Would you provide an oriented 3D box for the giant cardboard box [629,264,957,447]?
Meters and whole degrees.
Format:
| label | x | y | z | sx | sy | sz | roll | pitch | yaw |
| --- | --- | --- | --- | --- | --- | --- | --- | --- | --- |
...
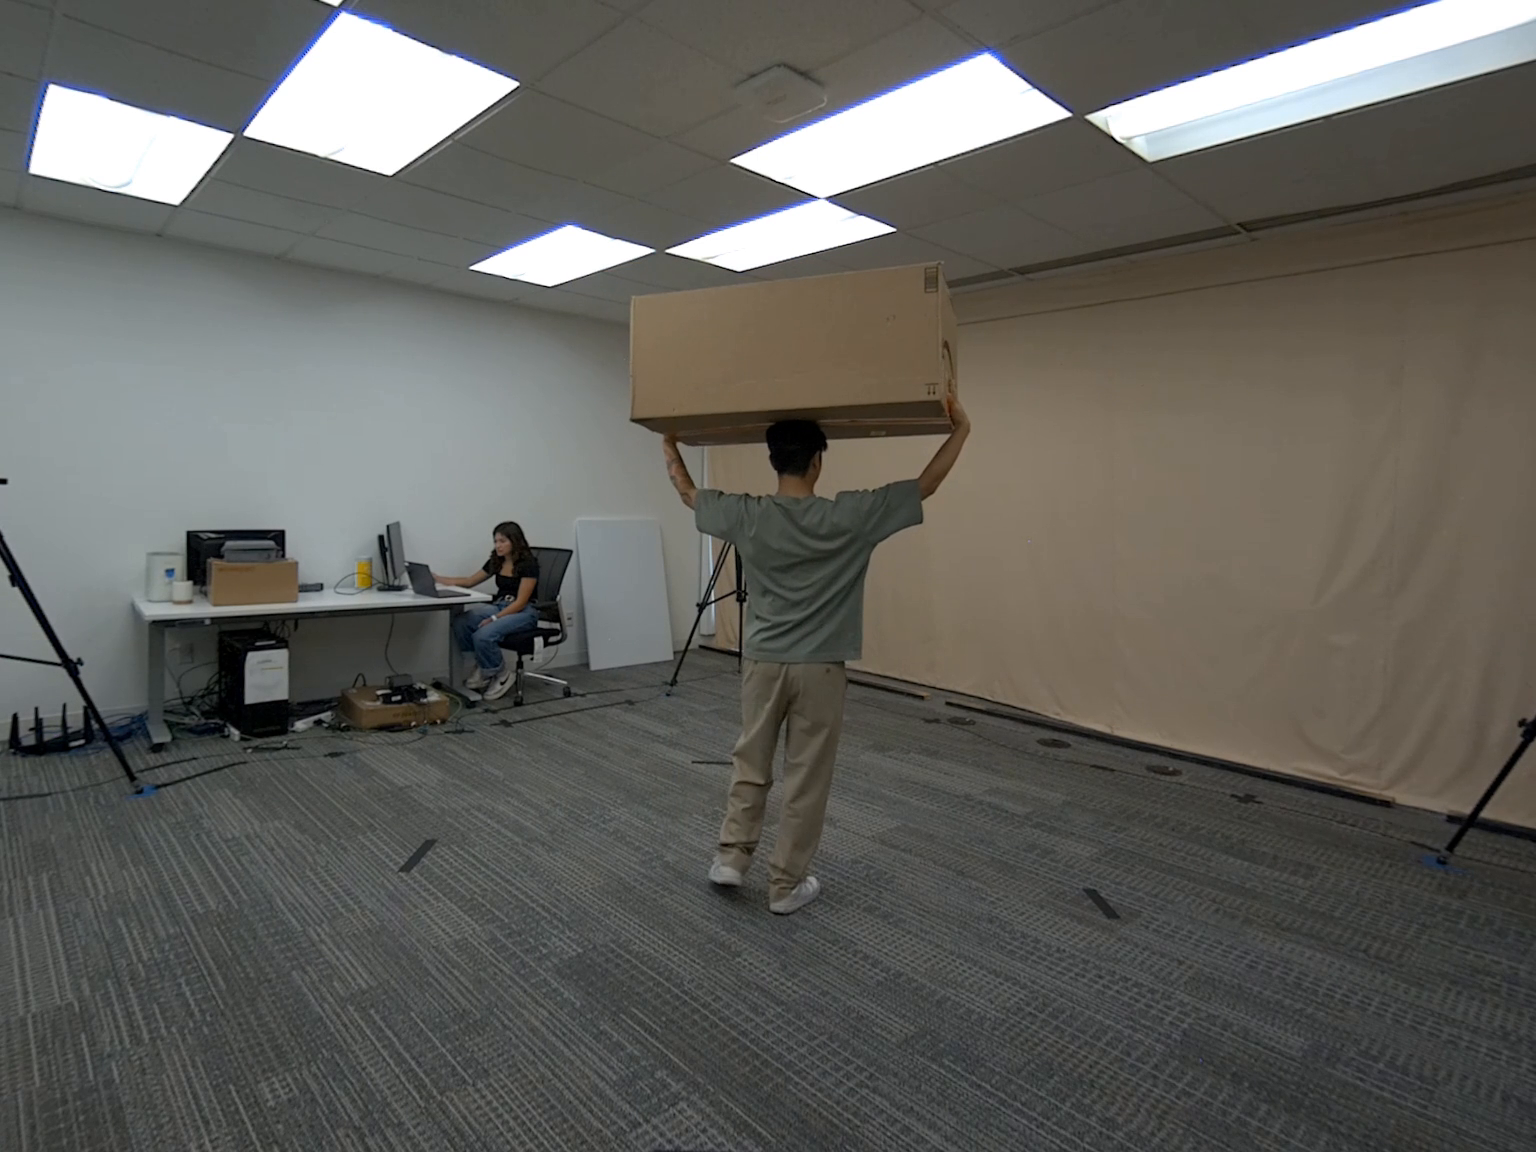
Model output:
| label | x | y | z | sx | sy | sz | roll | pitch | yaw |
| --- | --- | --- | --- | --- | --- | --- | --- | --- | --- |
| giant cardboard box | 0.099 | -0.722 | 2.923 | 1.041 | 0.427 | 0.568 | 0 | -2 | 19 |
